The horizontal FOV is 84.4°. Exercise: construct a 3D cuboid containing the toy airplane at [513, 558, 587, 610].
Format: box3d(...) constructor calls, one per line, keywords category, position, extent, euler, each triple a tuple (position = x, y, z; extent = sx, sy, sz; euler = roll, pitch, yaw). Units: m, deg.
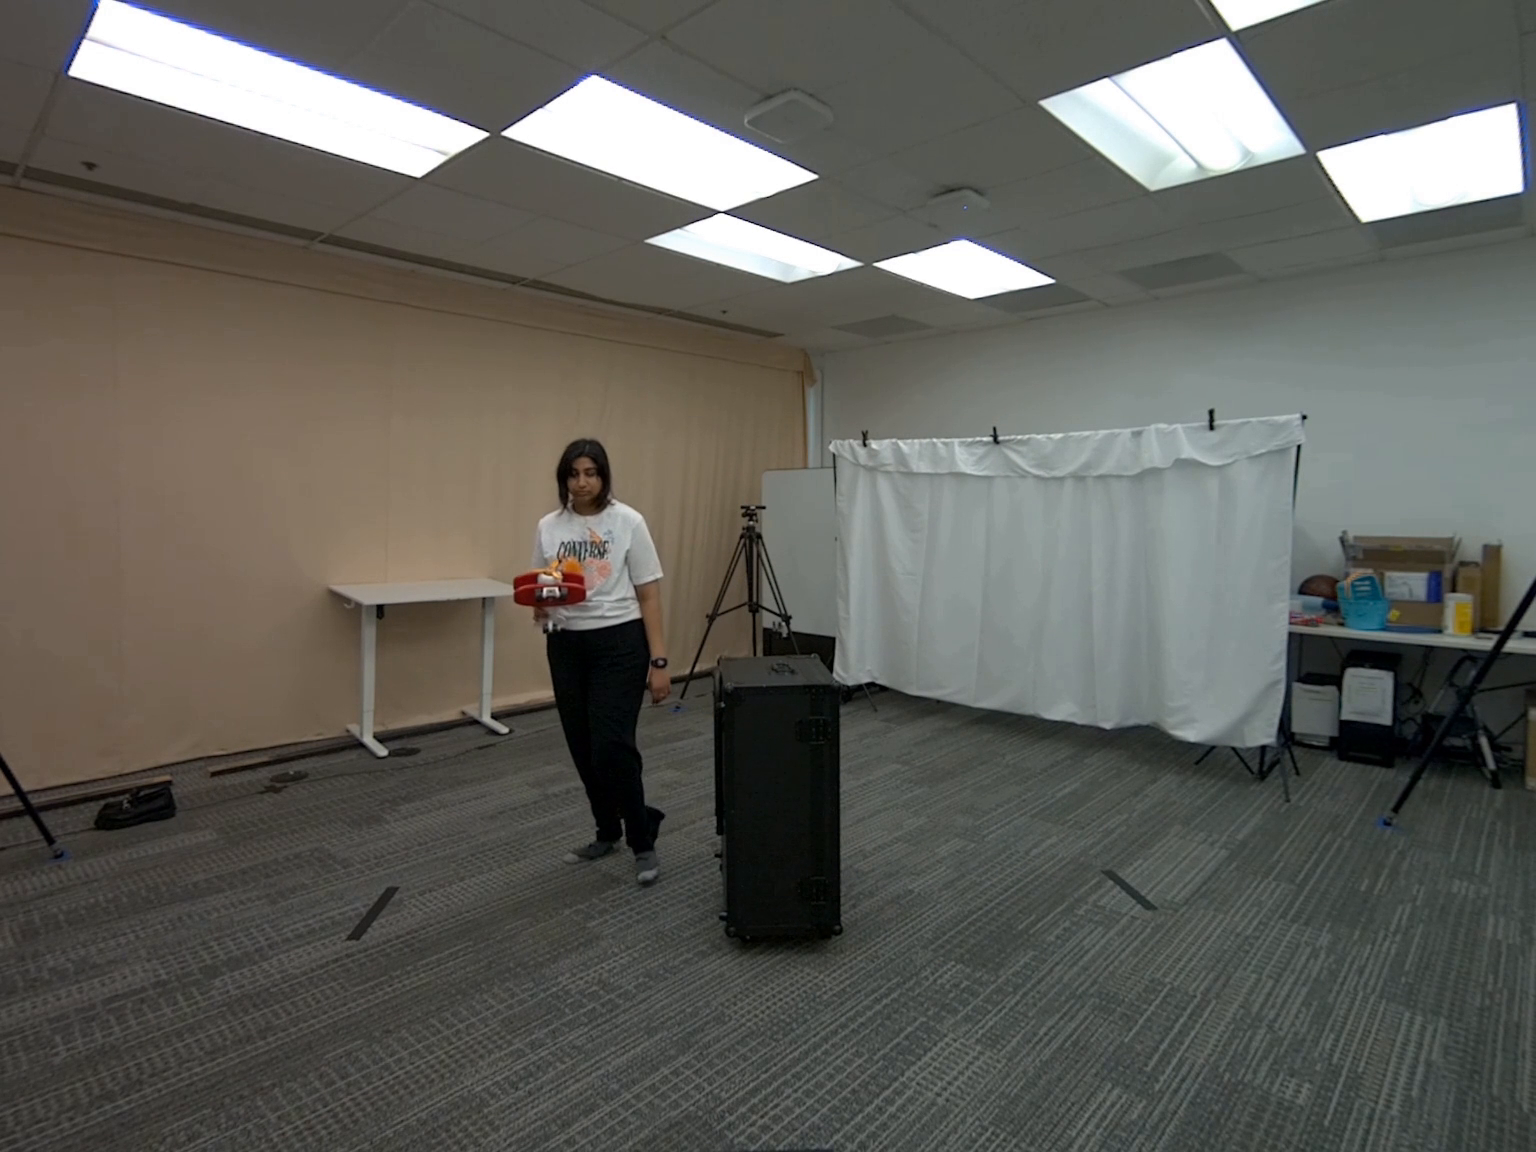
box3d(category="toy airplane", position=(-0.803, 0.084, 3.048), extent=(0.243, 0.160, 0.261), euler=(21, -52, -32))
